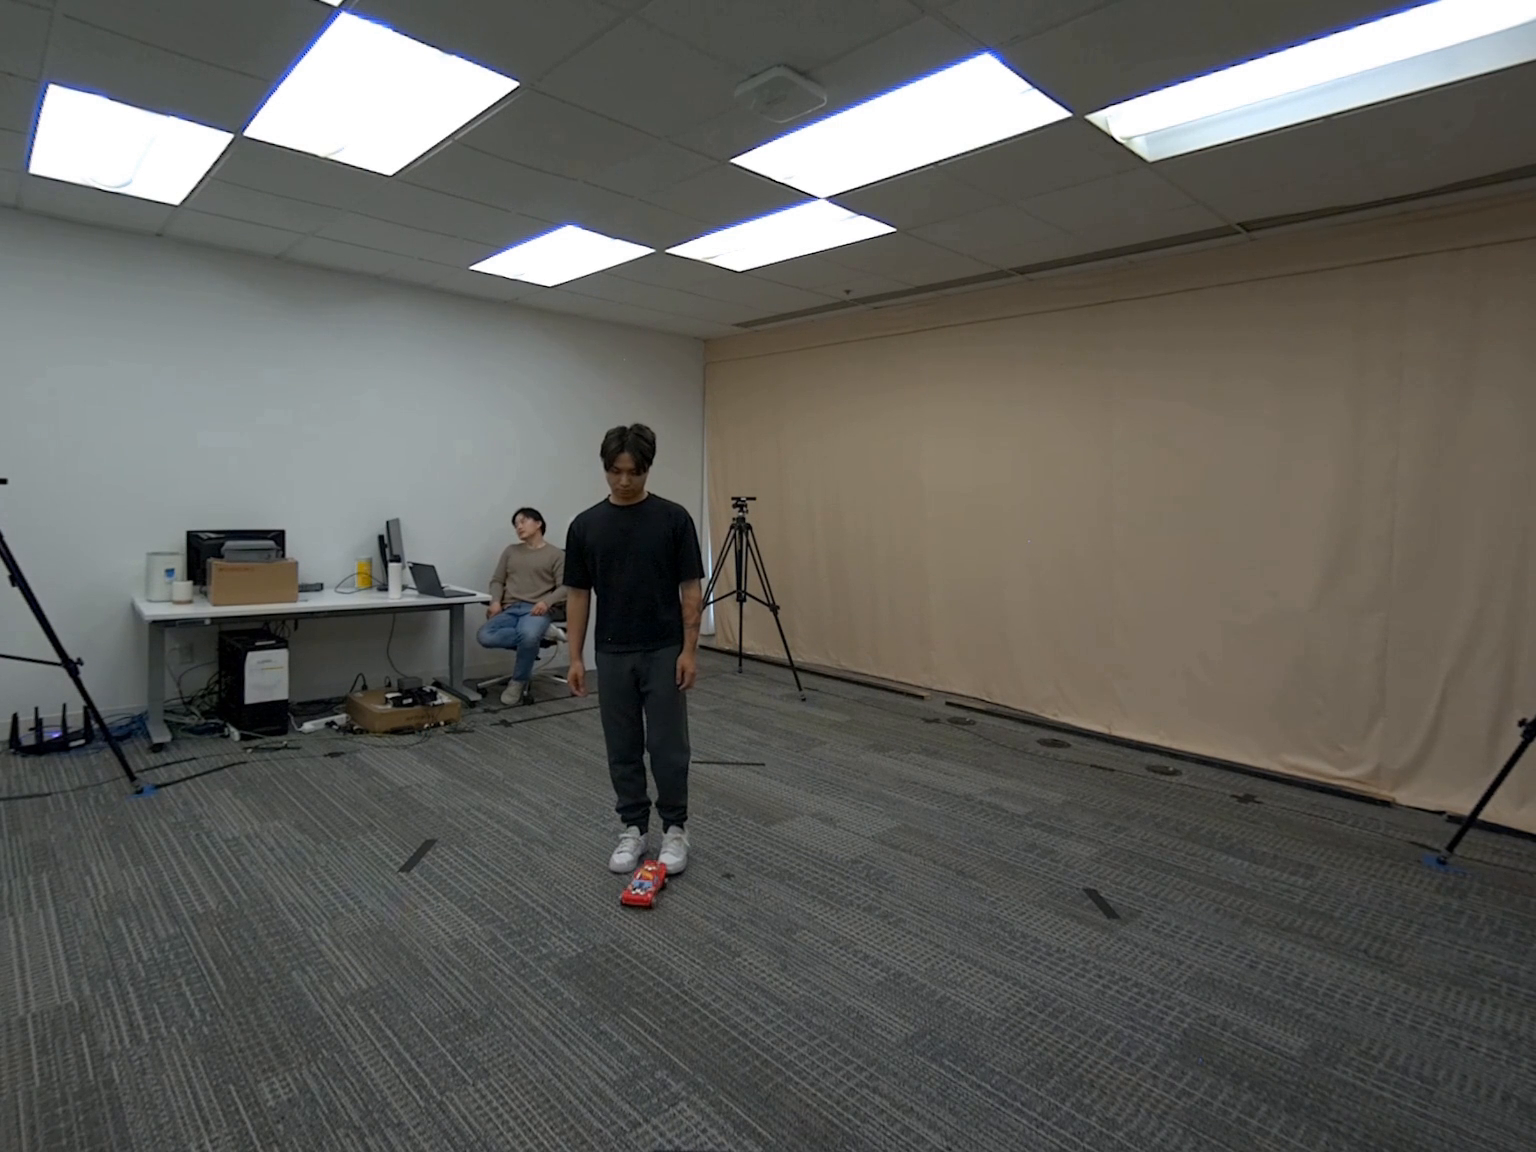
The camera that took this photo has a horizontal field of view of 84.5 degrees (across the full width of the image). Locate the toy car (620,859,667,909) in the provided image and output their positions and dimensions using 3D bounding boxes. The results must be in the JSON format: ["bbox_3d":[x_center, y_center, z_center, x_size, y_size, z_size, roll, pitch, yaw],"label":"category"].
[{"bbox_3d":[-0.436,1.083,2.946,0.131,0.082,0.255,1,17,9],"label":"toy car"}]
